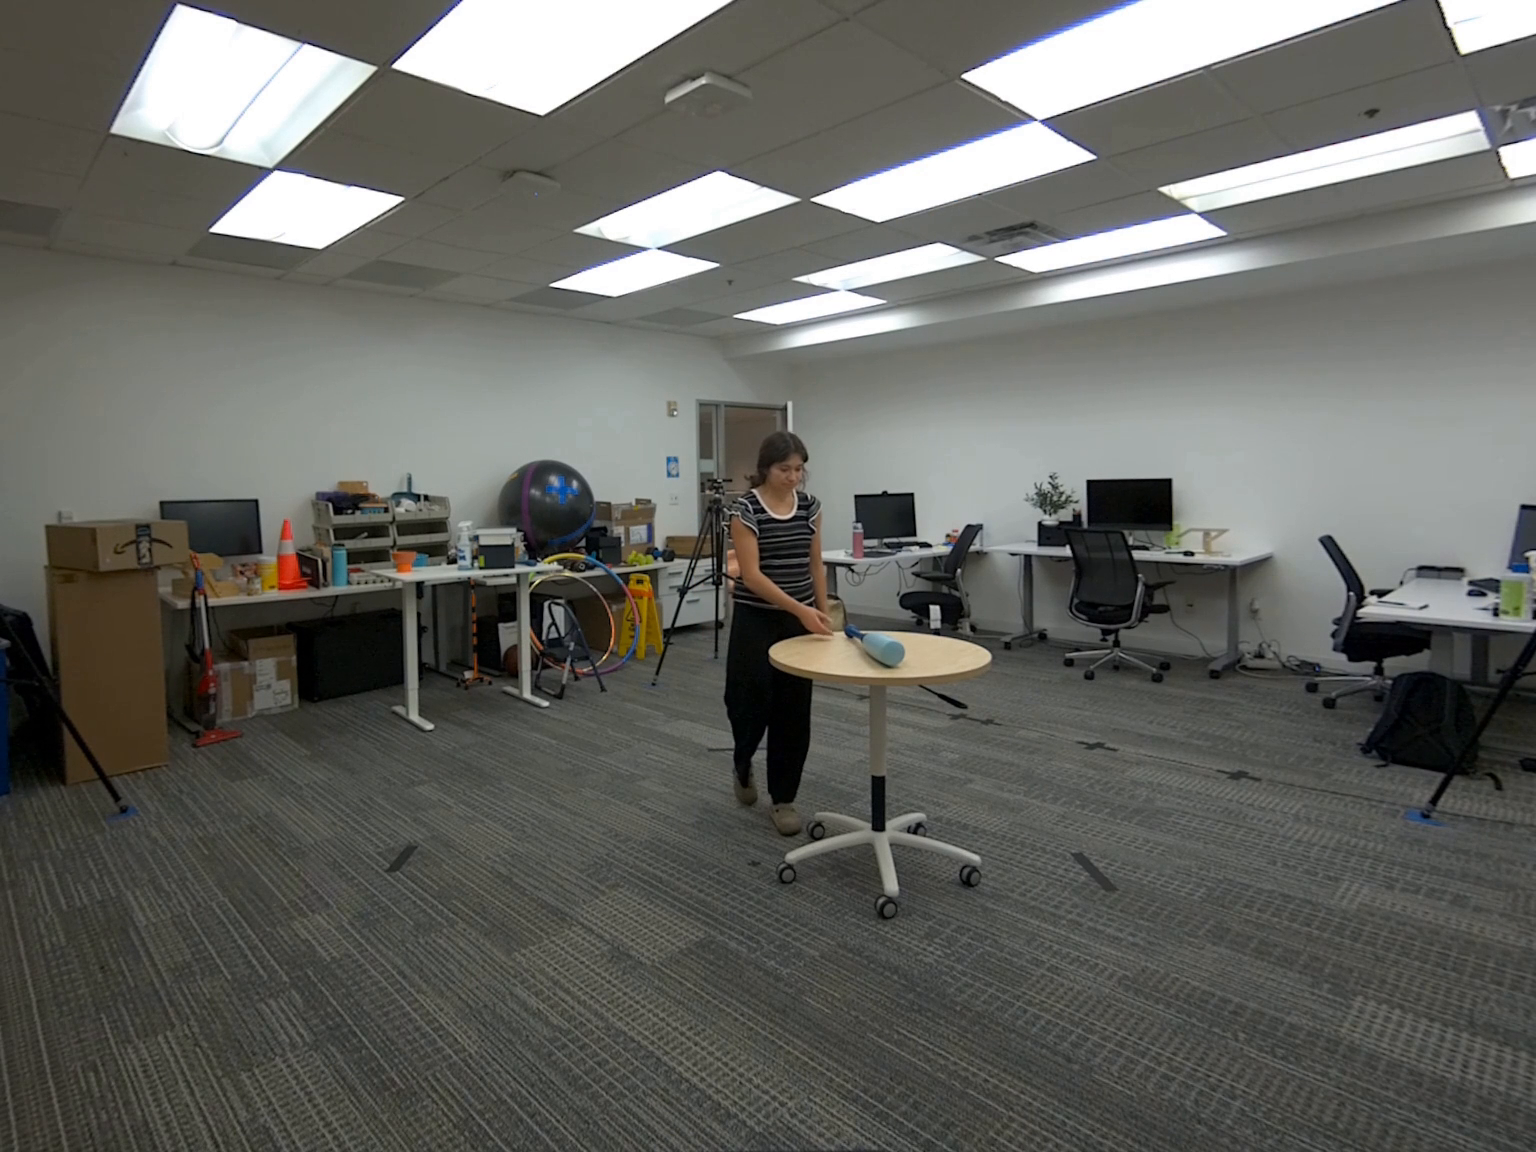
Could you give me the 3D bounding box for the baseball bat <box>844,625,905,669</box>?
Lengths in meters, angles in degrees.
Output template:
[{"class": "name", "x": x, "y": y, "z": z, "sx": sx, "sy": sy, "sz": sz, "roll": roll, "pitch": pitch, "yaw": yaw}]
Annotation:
[{"class": "baseball bat", "x": 0.361, "y": 0.229, "z": 2.999, "sx": 0.088, "sy": 0.089, "sz": 0.549, "roll": -2, "pitch": 5, "yaw": -9}]
